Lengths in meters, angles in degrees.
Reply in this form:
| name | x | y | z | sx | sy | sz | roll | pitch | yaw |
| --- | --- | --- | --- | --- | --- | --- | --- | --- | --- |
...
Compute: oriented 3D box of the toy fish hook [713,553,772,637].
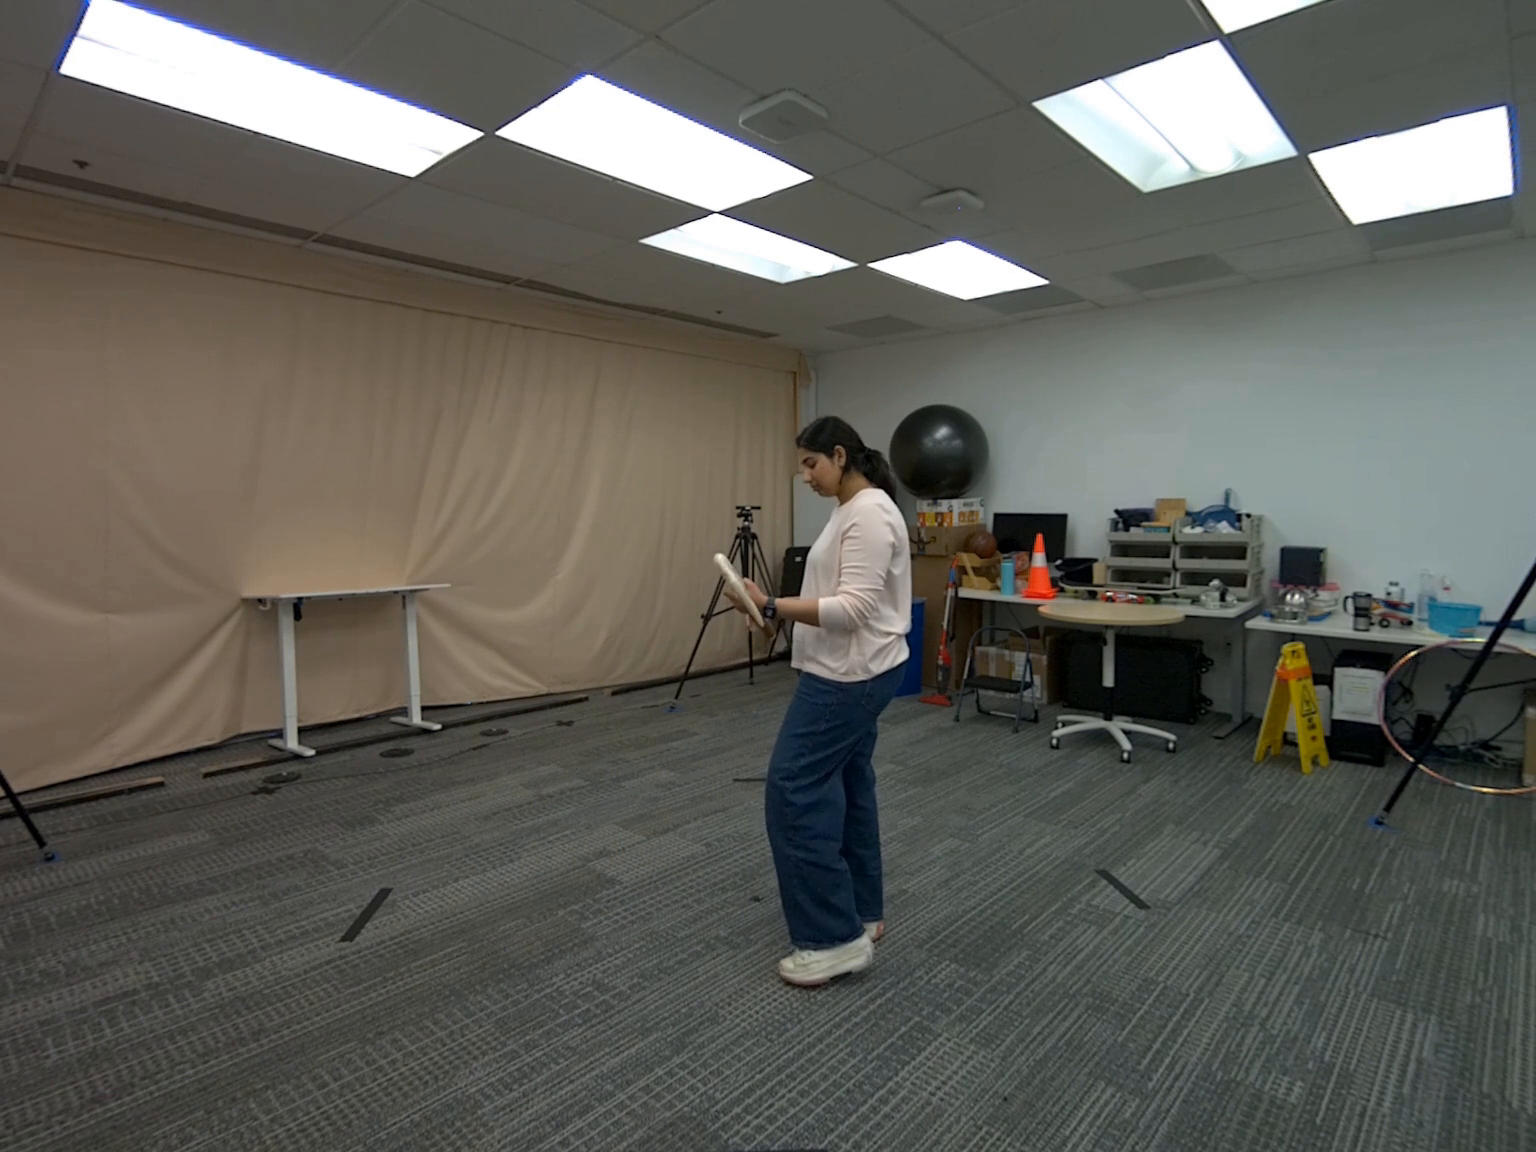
| name | x | y | z | sx | sy | sz | roll | pitch | yaw |
| --- | --- | --- | --- | --- | --- | --- | --- | --- | --- |
| toy fish hook | -0.034 | 0.108 | 2.455 | 0.048 | 0.231 | 0.490 | -30 | -36 | 4 |
